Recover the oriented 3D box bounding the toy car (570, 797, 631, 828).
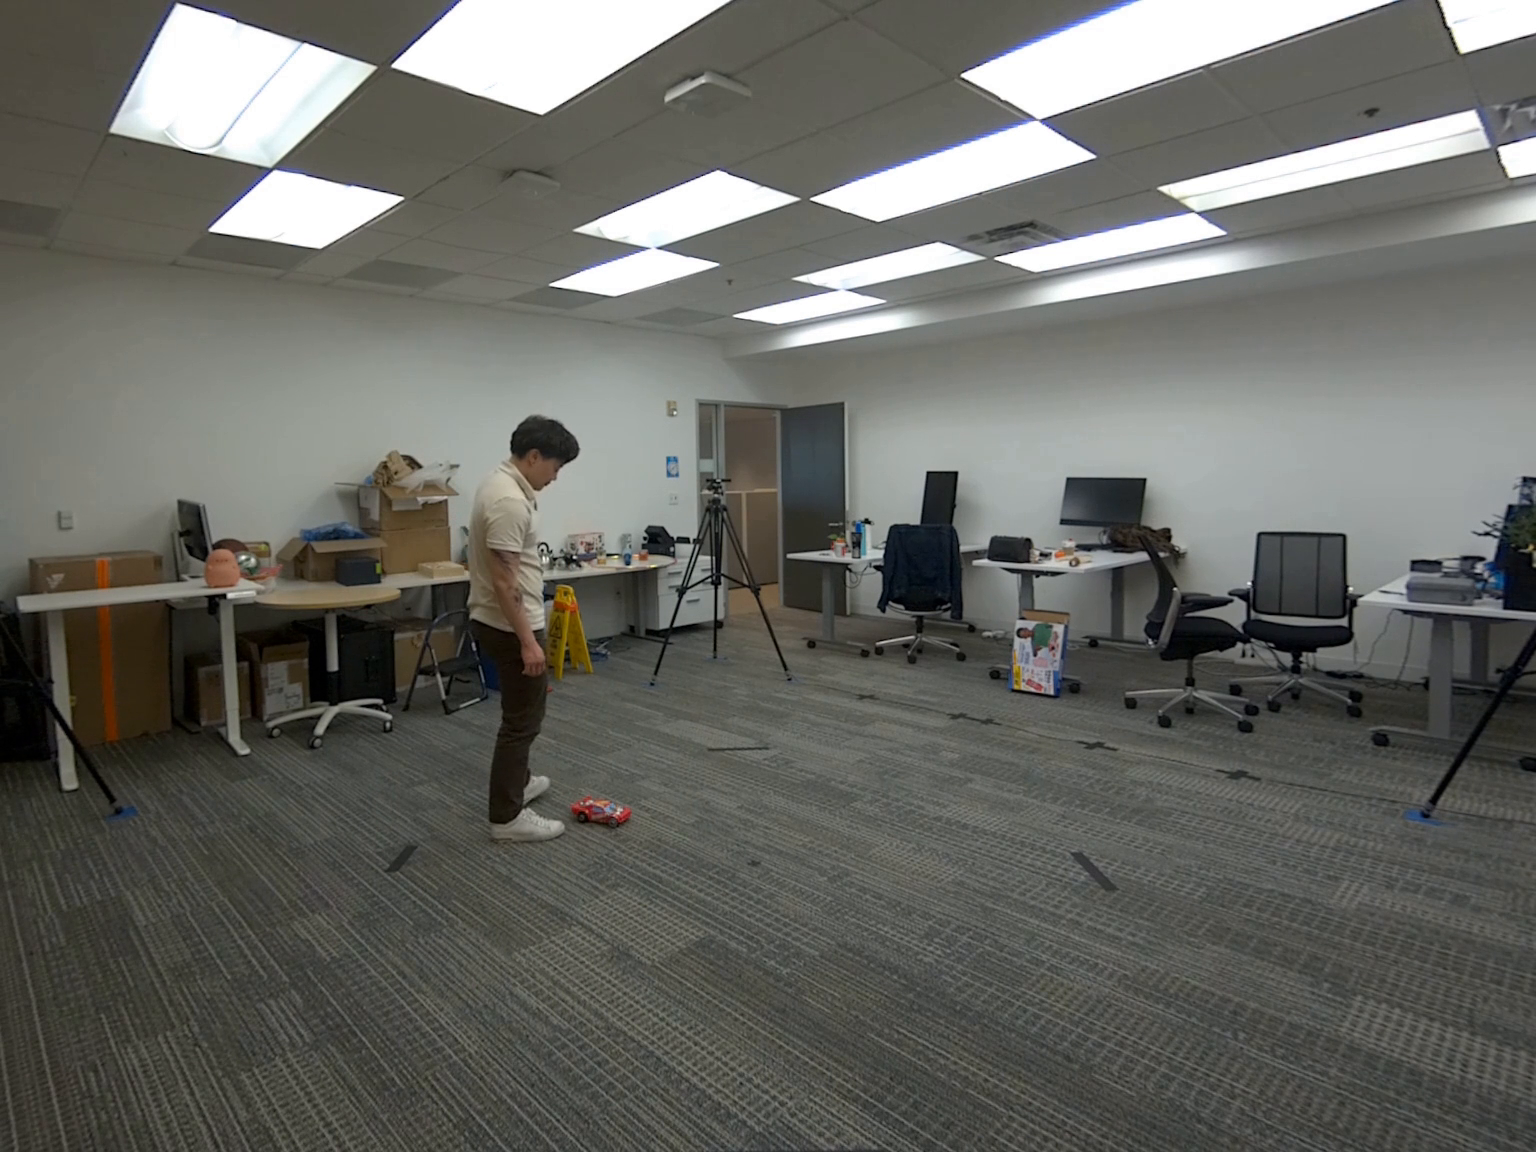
[{"bbox_3d":[-0.696,0.976,3.534,0.260,0.082,0.128,12,11,21],"label":"toy car"}]
